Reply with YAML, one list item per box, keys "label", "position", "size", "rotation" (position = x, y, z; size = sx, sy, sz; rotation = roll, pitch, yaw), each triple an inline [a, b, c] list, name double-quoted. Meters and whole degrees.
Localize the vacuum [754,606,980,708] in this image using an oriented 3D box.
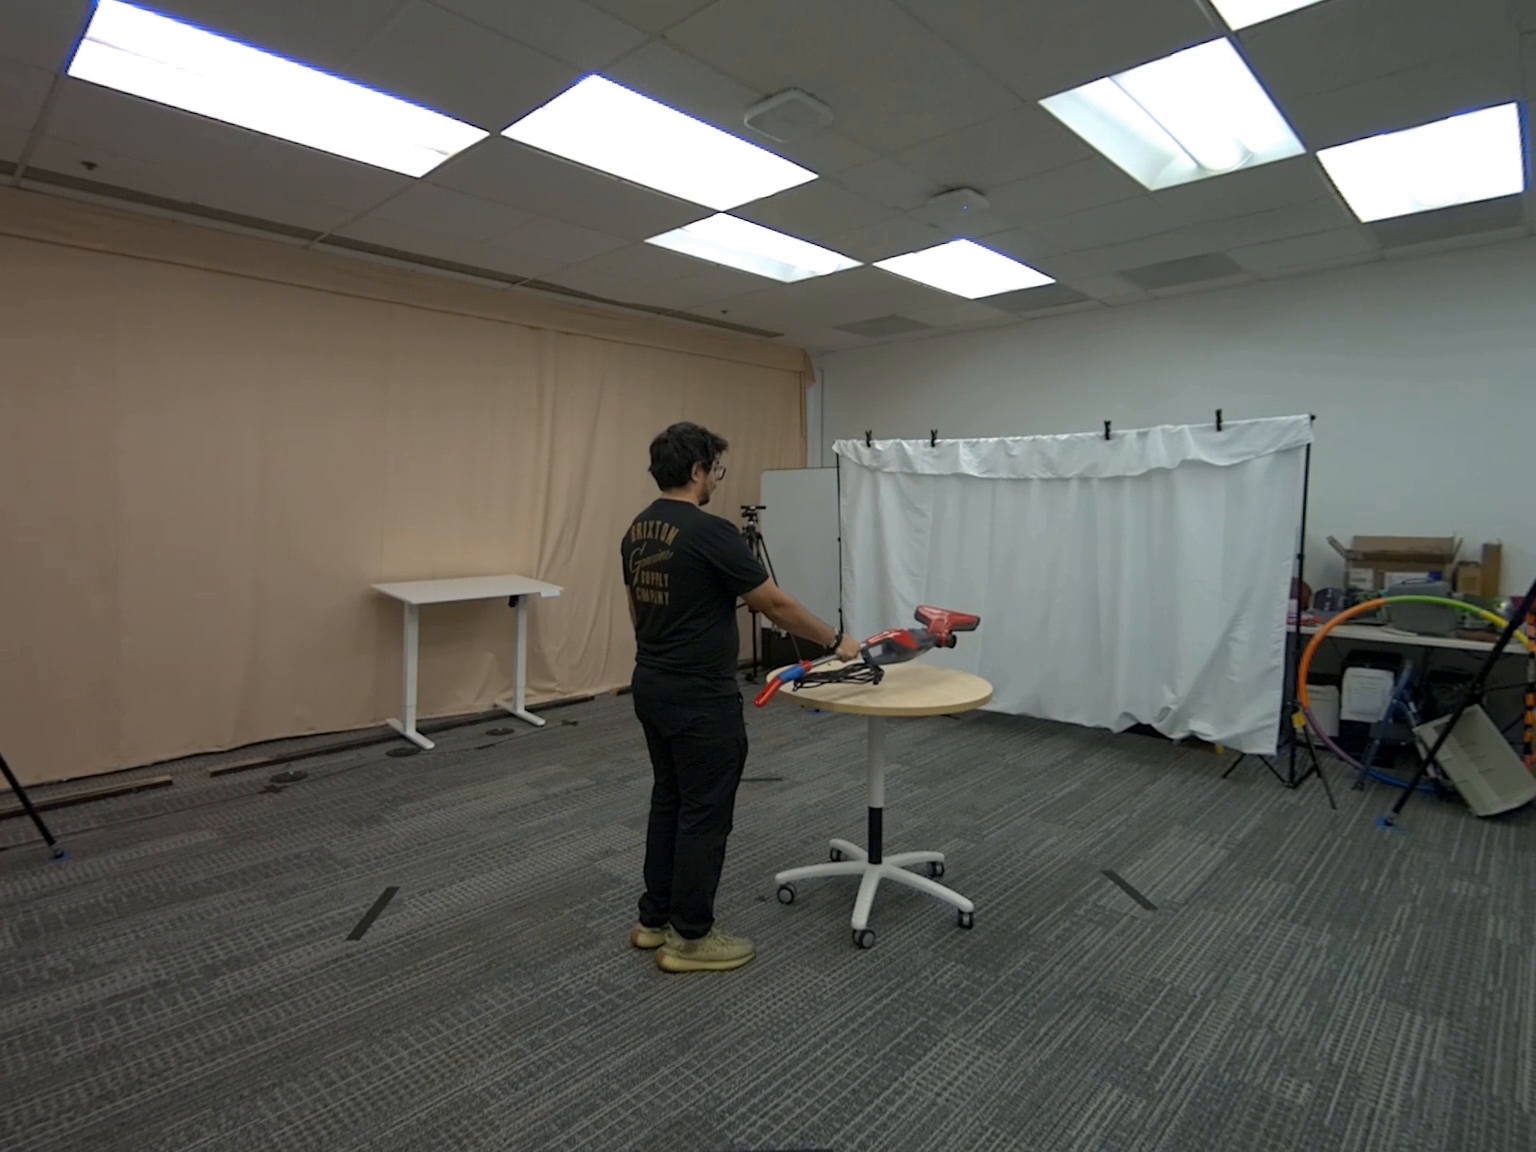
- label: "vacuum"
  position: [0.343, 0.283, 2.756]
  size: [0.261, 0.143, 1.021]
  rotation: [9, 15, 40]
